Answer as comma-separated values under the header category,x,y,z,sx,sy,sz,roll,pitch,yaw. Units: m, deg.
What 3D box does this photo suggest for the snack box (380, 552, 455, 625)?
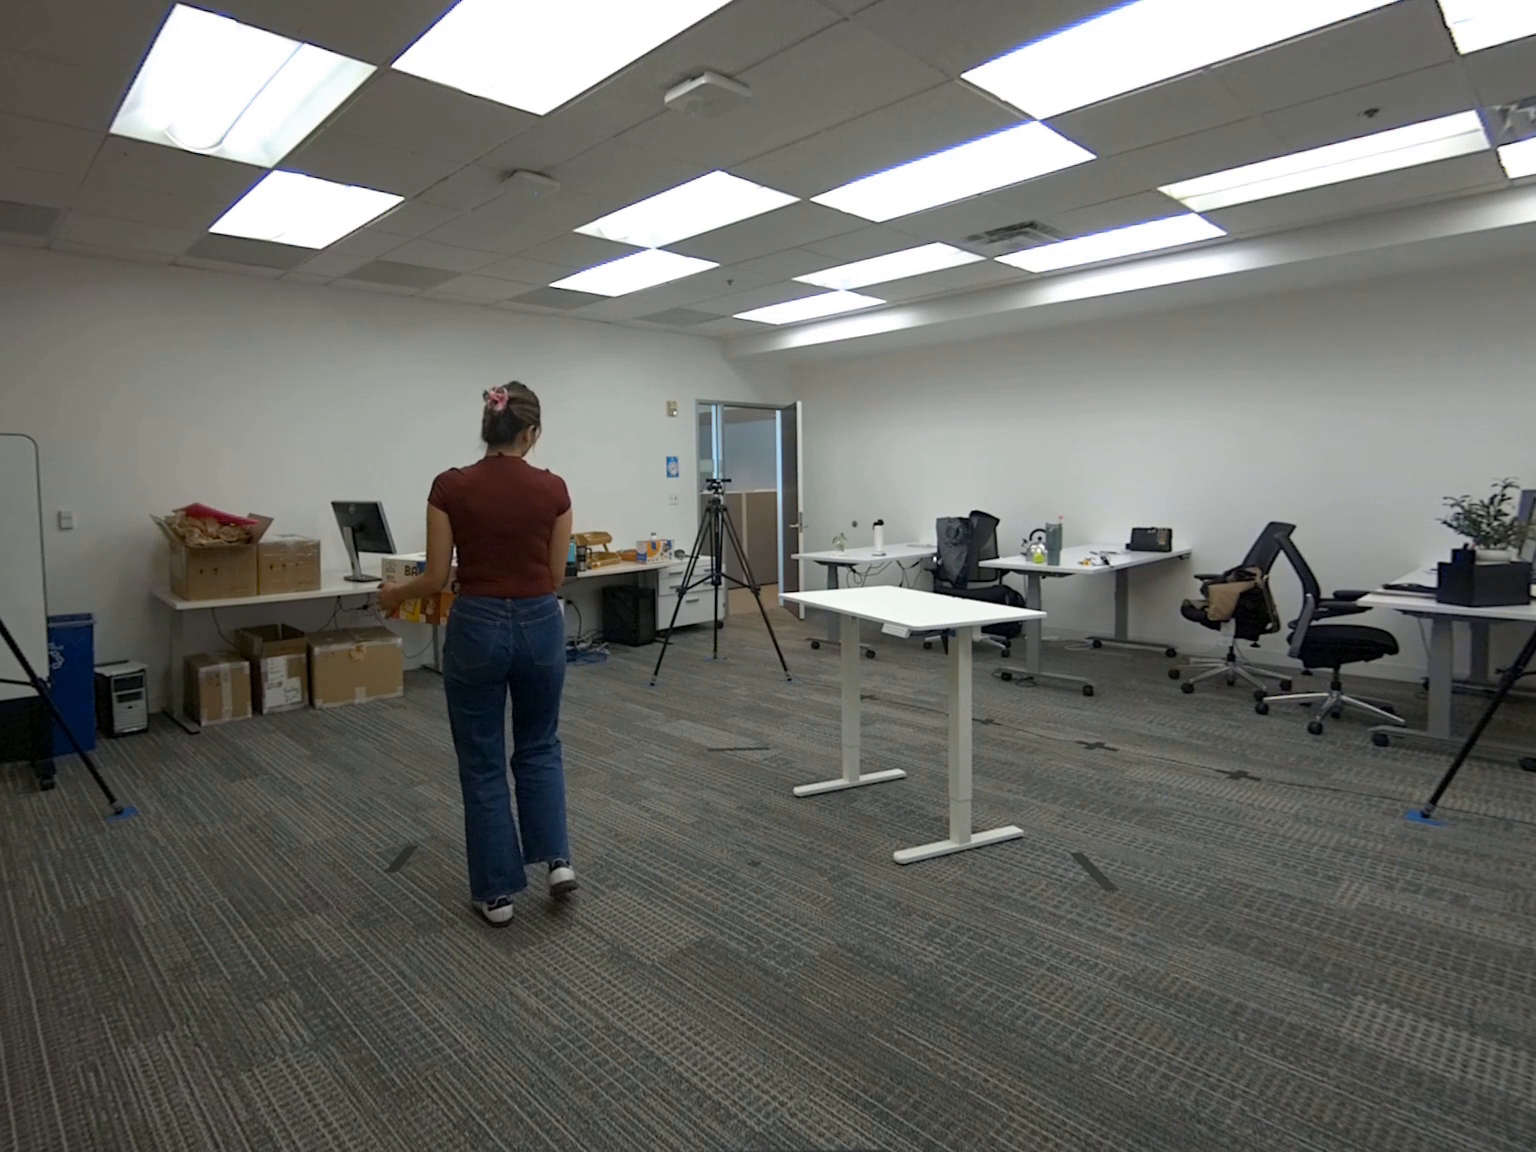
category,x,y,z,sx,sy,sz,roll,pitch,yaw
snack box,-1.071,0.029,3.000,0.347,0.204,0.399,5,8,19
